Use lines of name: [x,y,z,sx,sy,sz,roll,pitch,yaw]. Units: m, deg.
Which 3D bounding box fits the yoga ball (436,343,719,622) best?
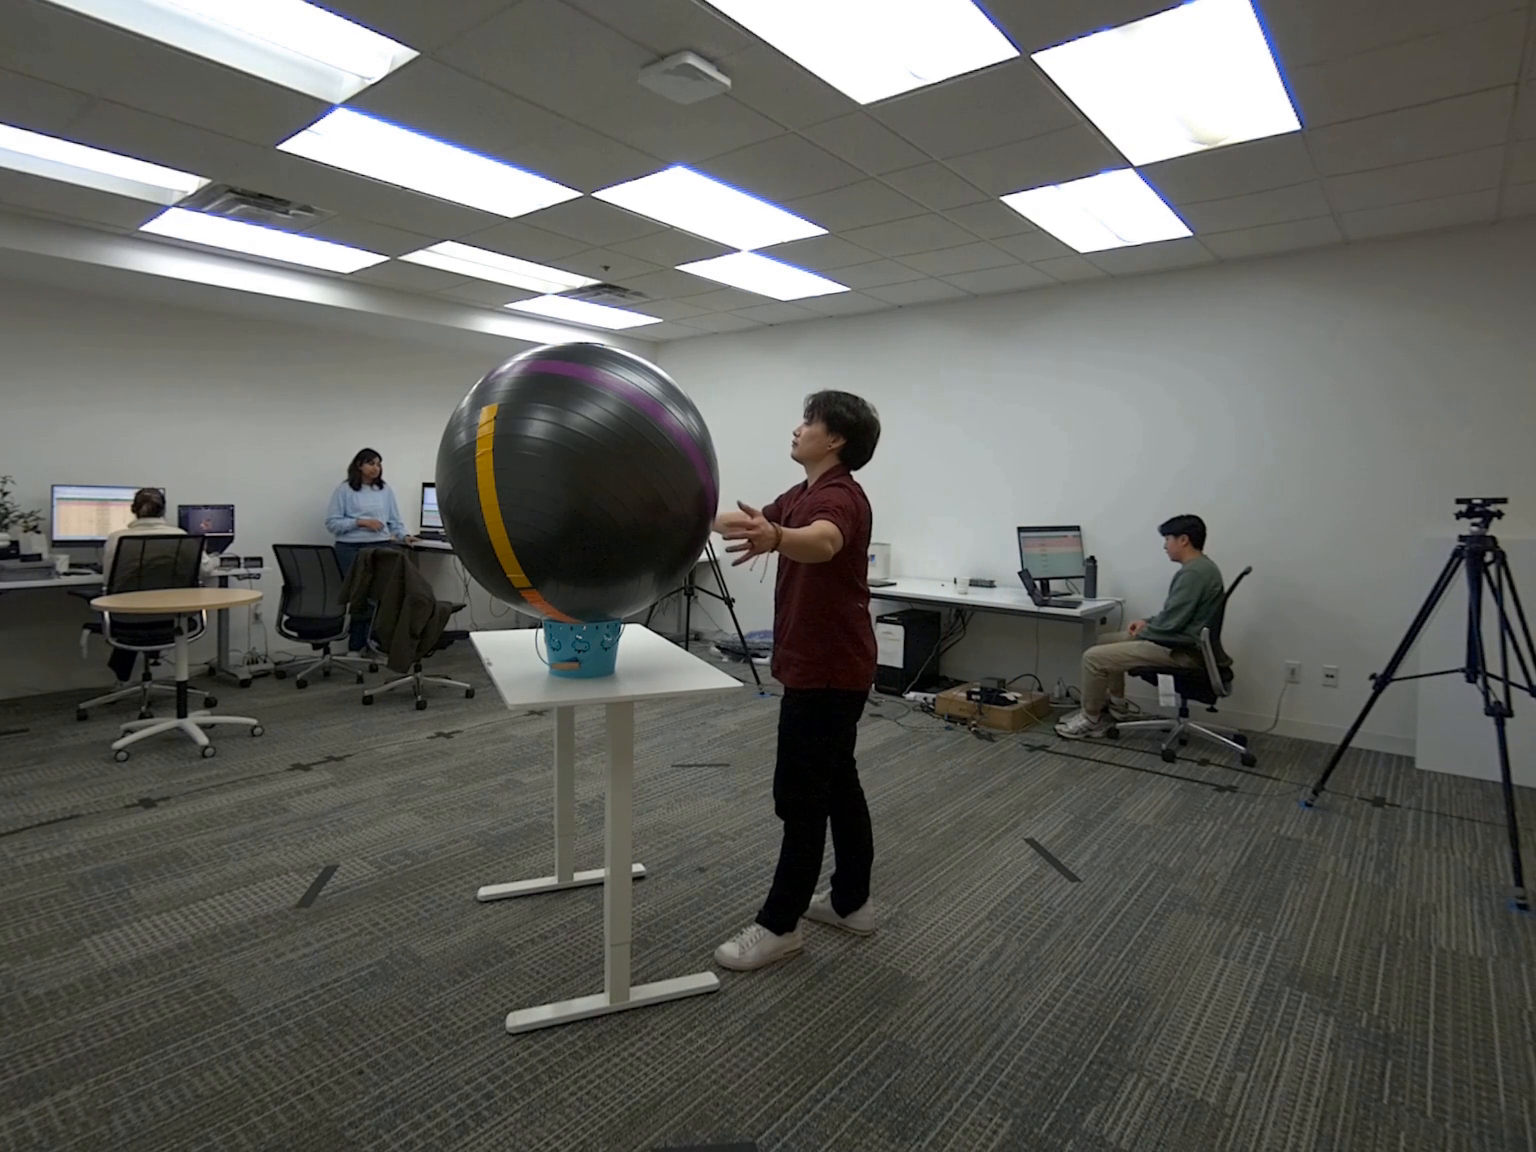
yoga ball: [-0.520,-0.244,2.310,0.757,0.756,0.762,1,4,-2]
